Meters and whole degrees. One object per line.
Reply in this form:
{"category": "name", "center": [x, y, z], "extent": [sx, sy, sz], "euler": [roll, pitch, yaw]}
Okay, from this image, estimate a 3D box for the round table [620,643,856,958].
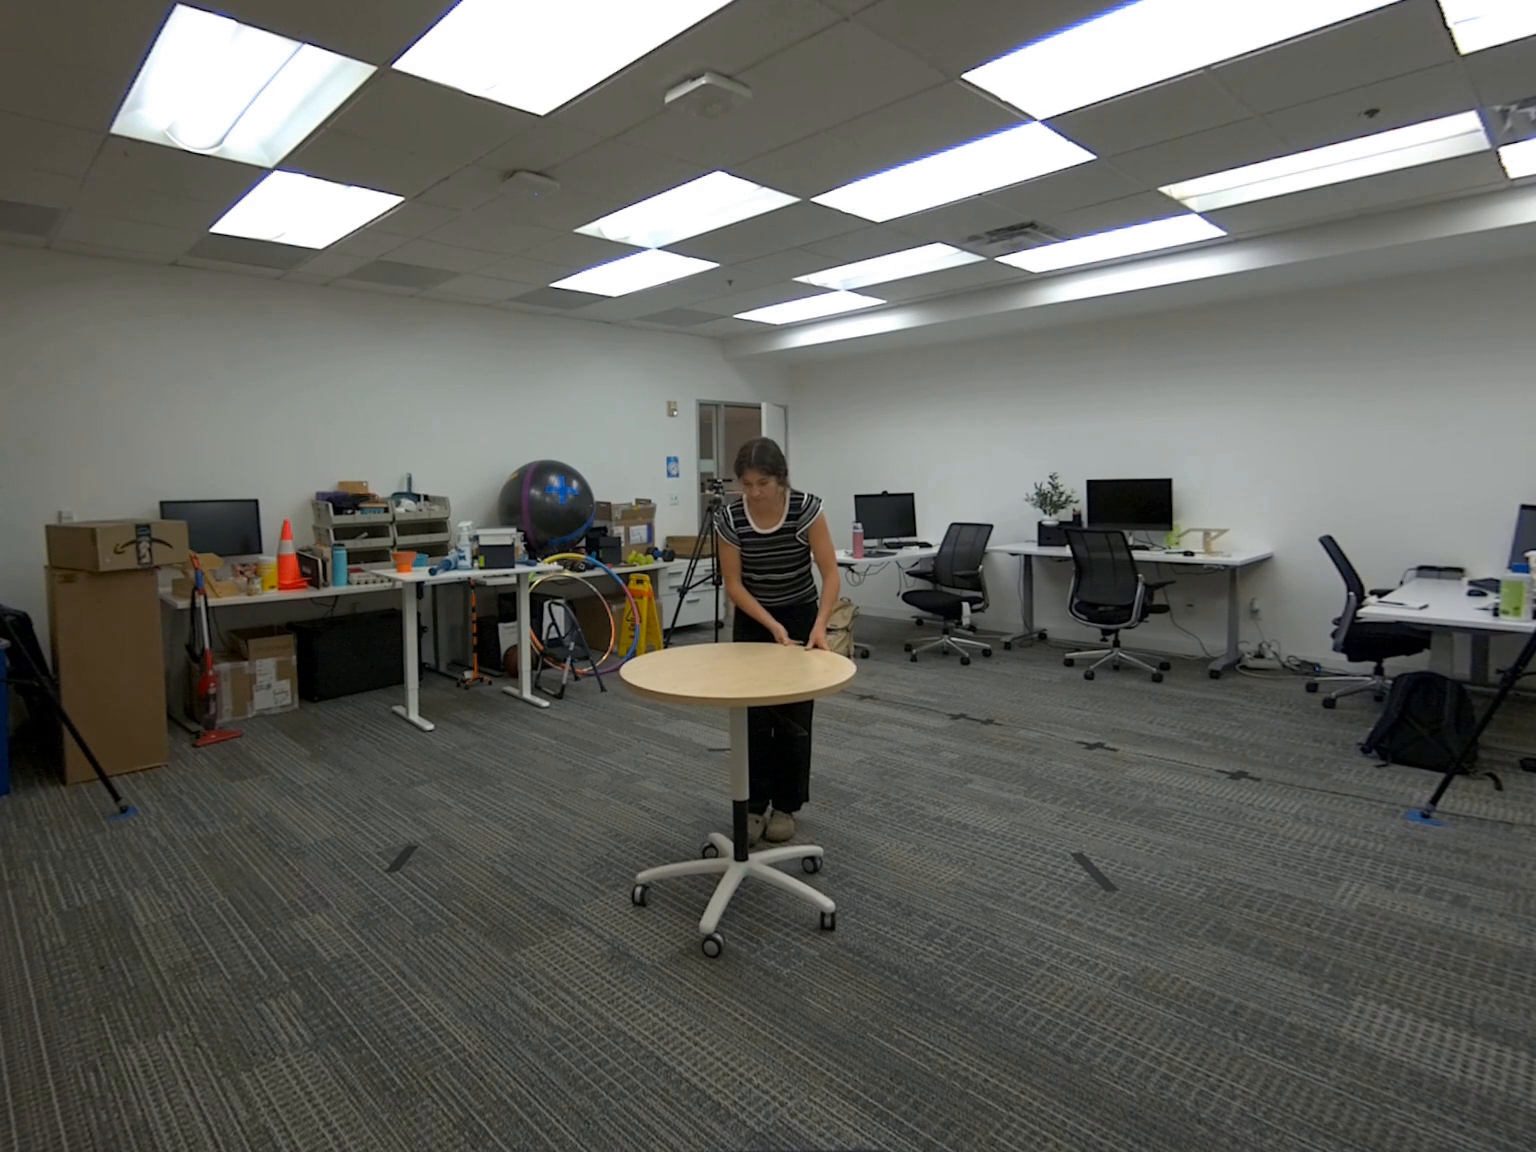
{"category": "round table", "center": [-0.108, 0.687, 2.810], "extent": [0.784, 0.783, 0.789], "euler": [0, 5, -2]}
